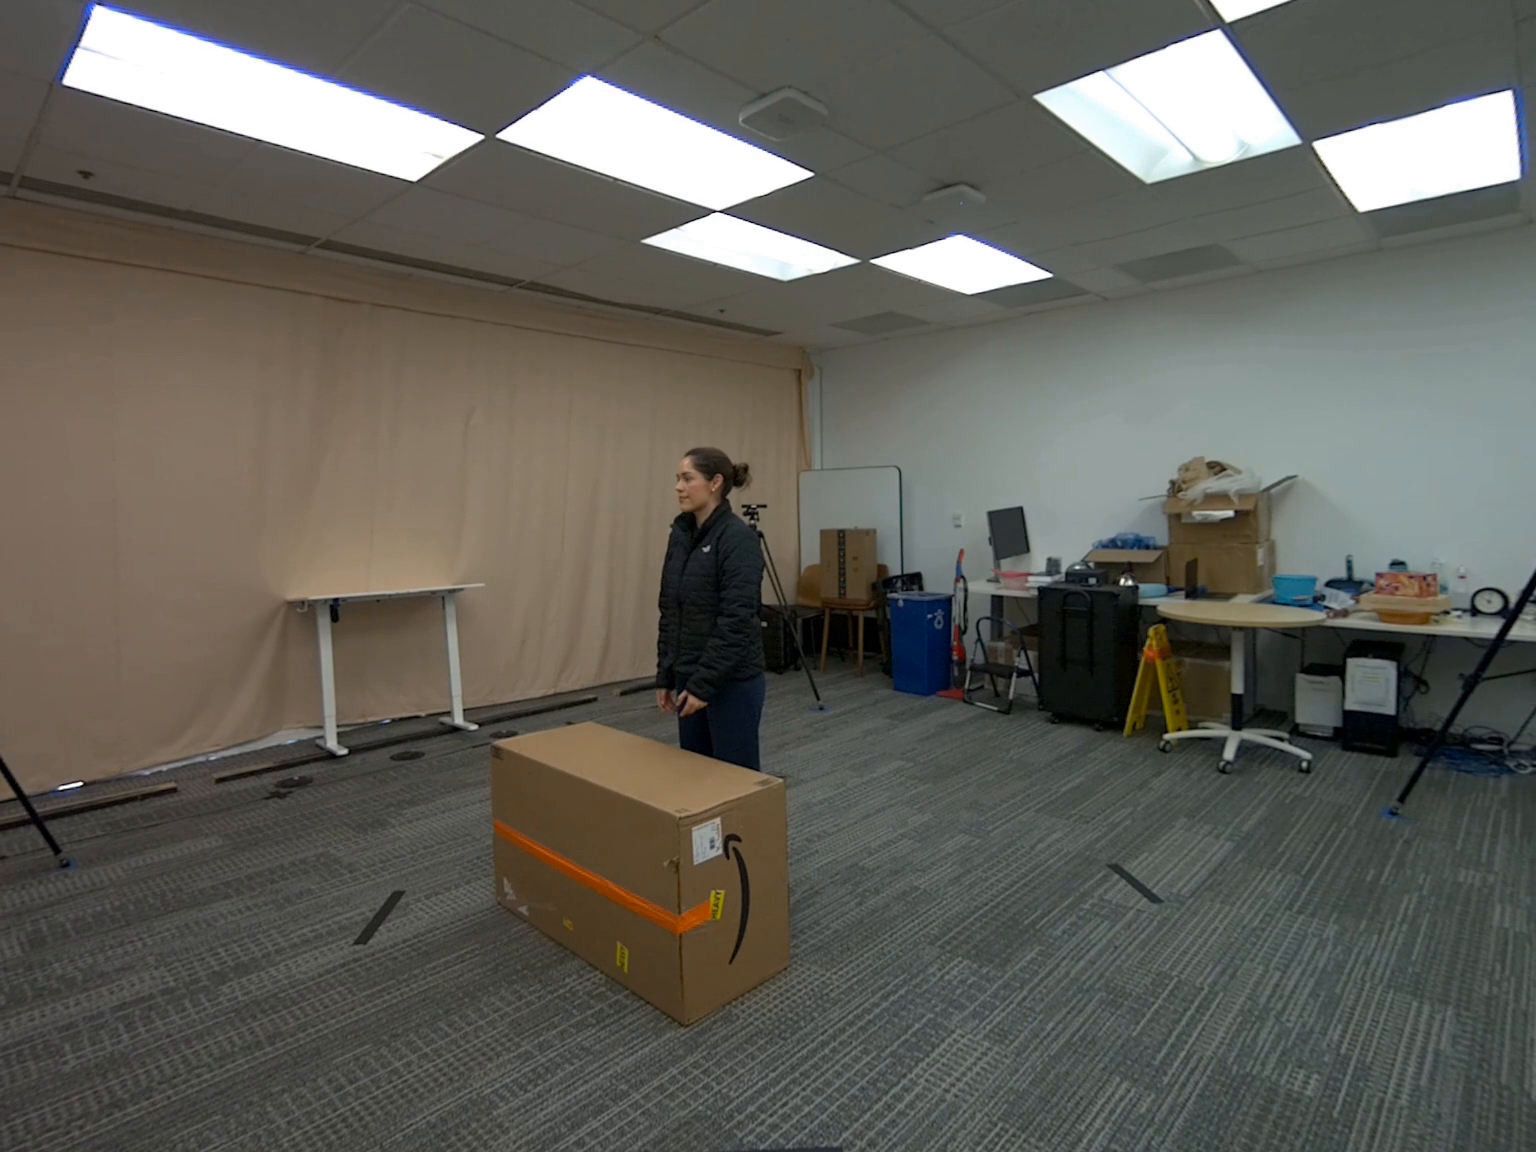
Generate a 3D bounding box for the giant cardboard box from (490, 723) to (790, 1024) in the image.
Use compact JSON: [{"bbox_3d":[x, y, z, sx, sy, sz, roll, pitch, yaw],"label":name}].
[{"bbox_3d":[-0.442,0.884,2.742,0.433,0.583,1.061,-3,4,-44],"label":"giant cardboard box"}]
